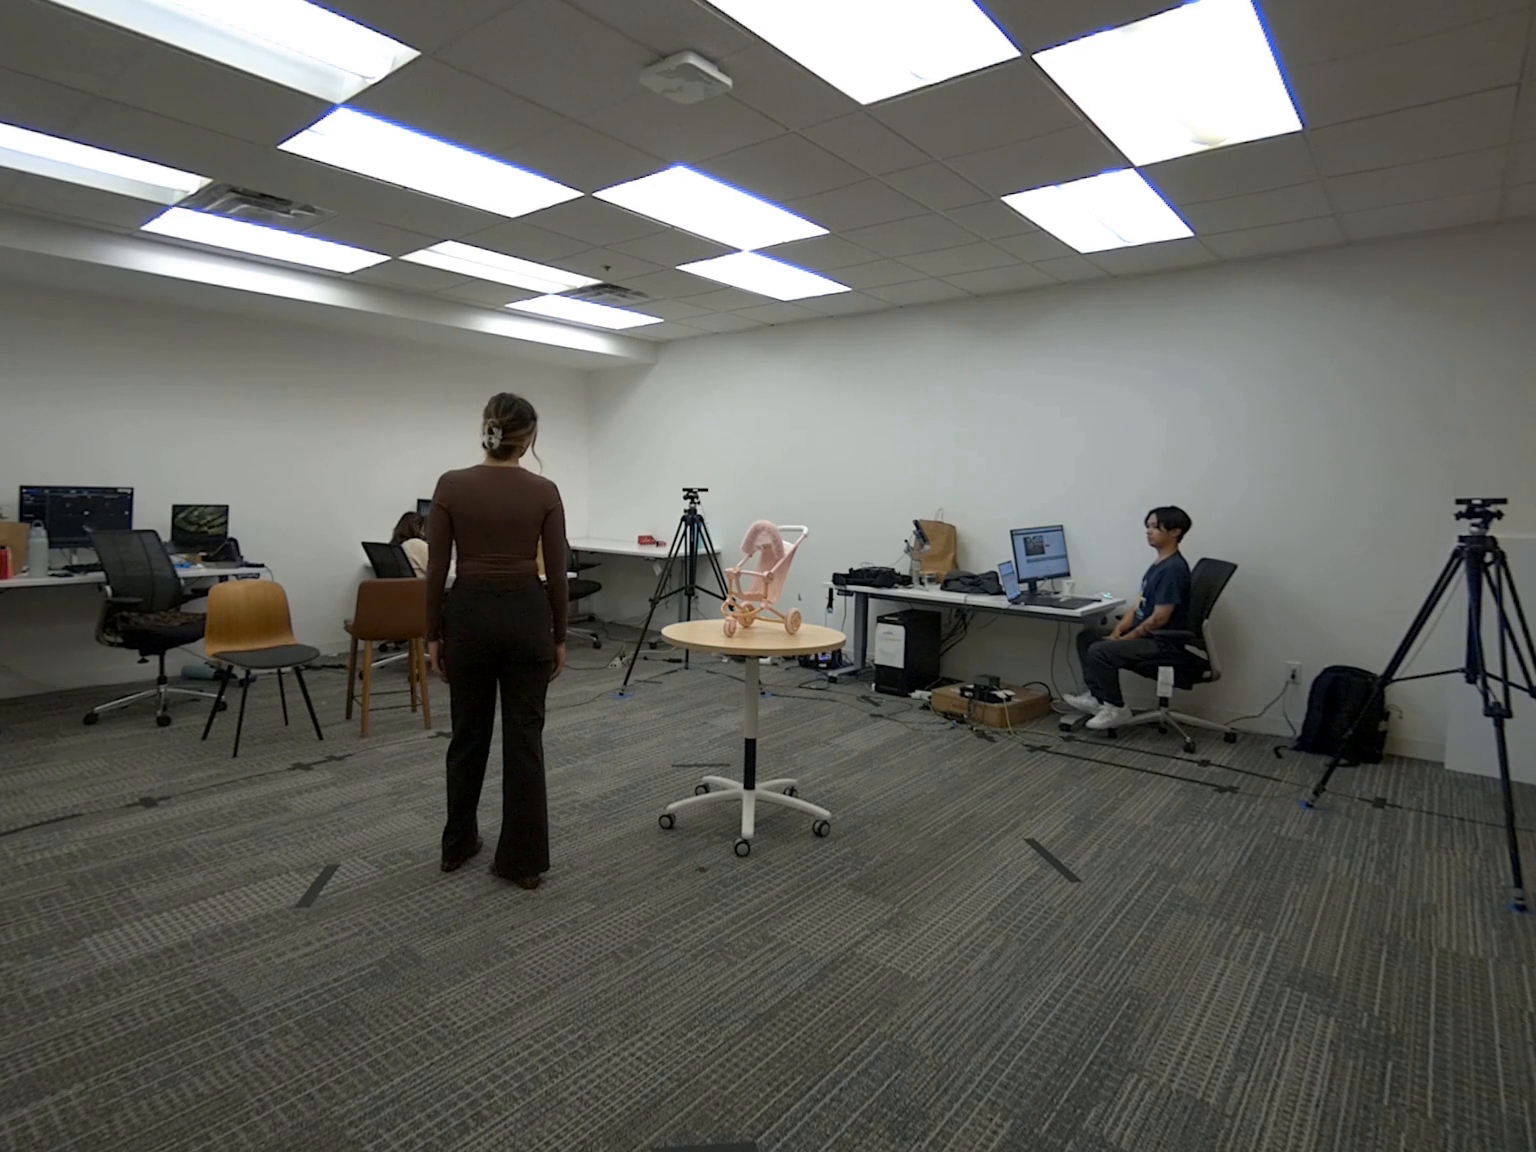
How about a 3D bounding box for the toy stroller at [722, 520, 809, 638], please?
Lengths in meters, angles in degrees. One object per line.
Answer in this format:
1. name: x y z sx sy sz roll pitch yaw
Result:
1. toy stroller: -0.042 0.009 3.552 0.291 0.538 0.328 4 -10 44
